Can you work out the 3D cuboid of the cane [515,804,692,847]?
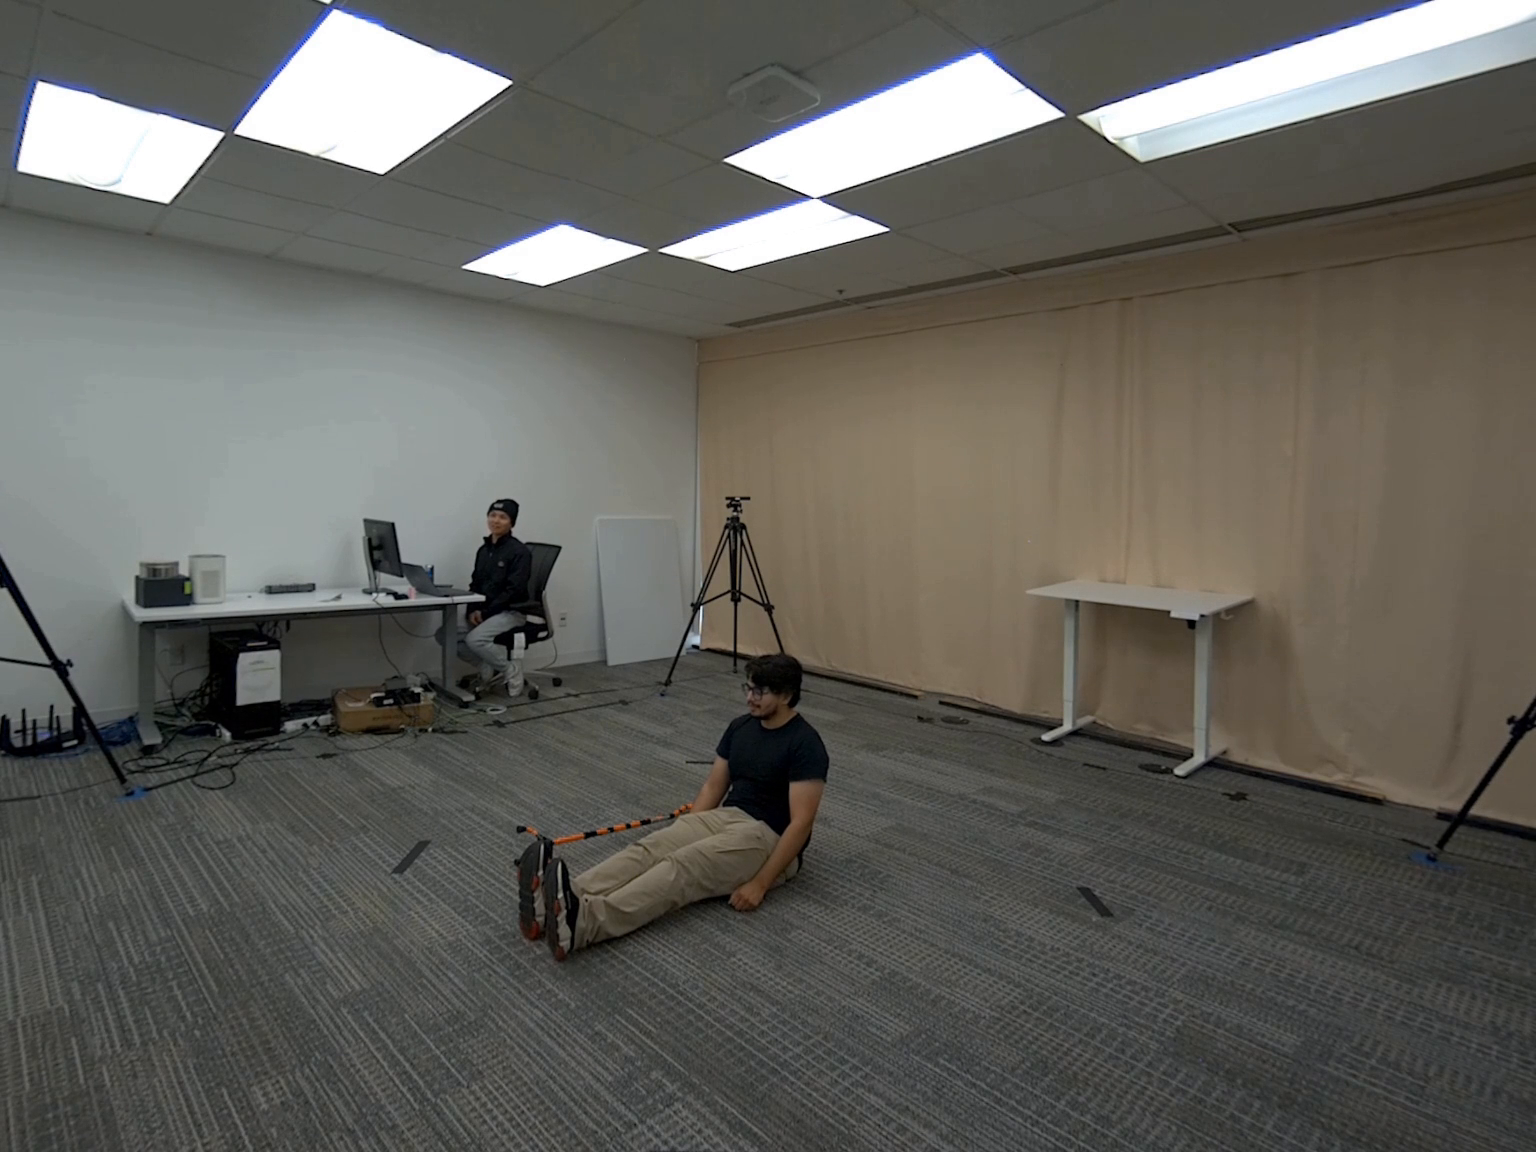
[{"bbox_3d":[-0.575,1.019,3.405,0.211,0.152,0.885,3,0,42],"label":"cane"}]
